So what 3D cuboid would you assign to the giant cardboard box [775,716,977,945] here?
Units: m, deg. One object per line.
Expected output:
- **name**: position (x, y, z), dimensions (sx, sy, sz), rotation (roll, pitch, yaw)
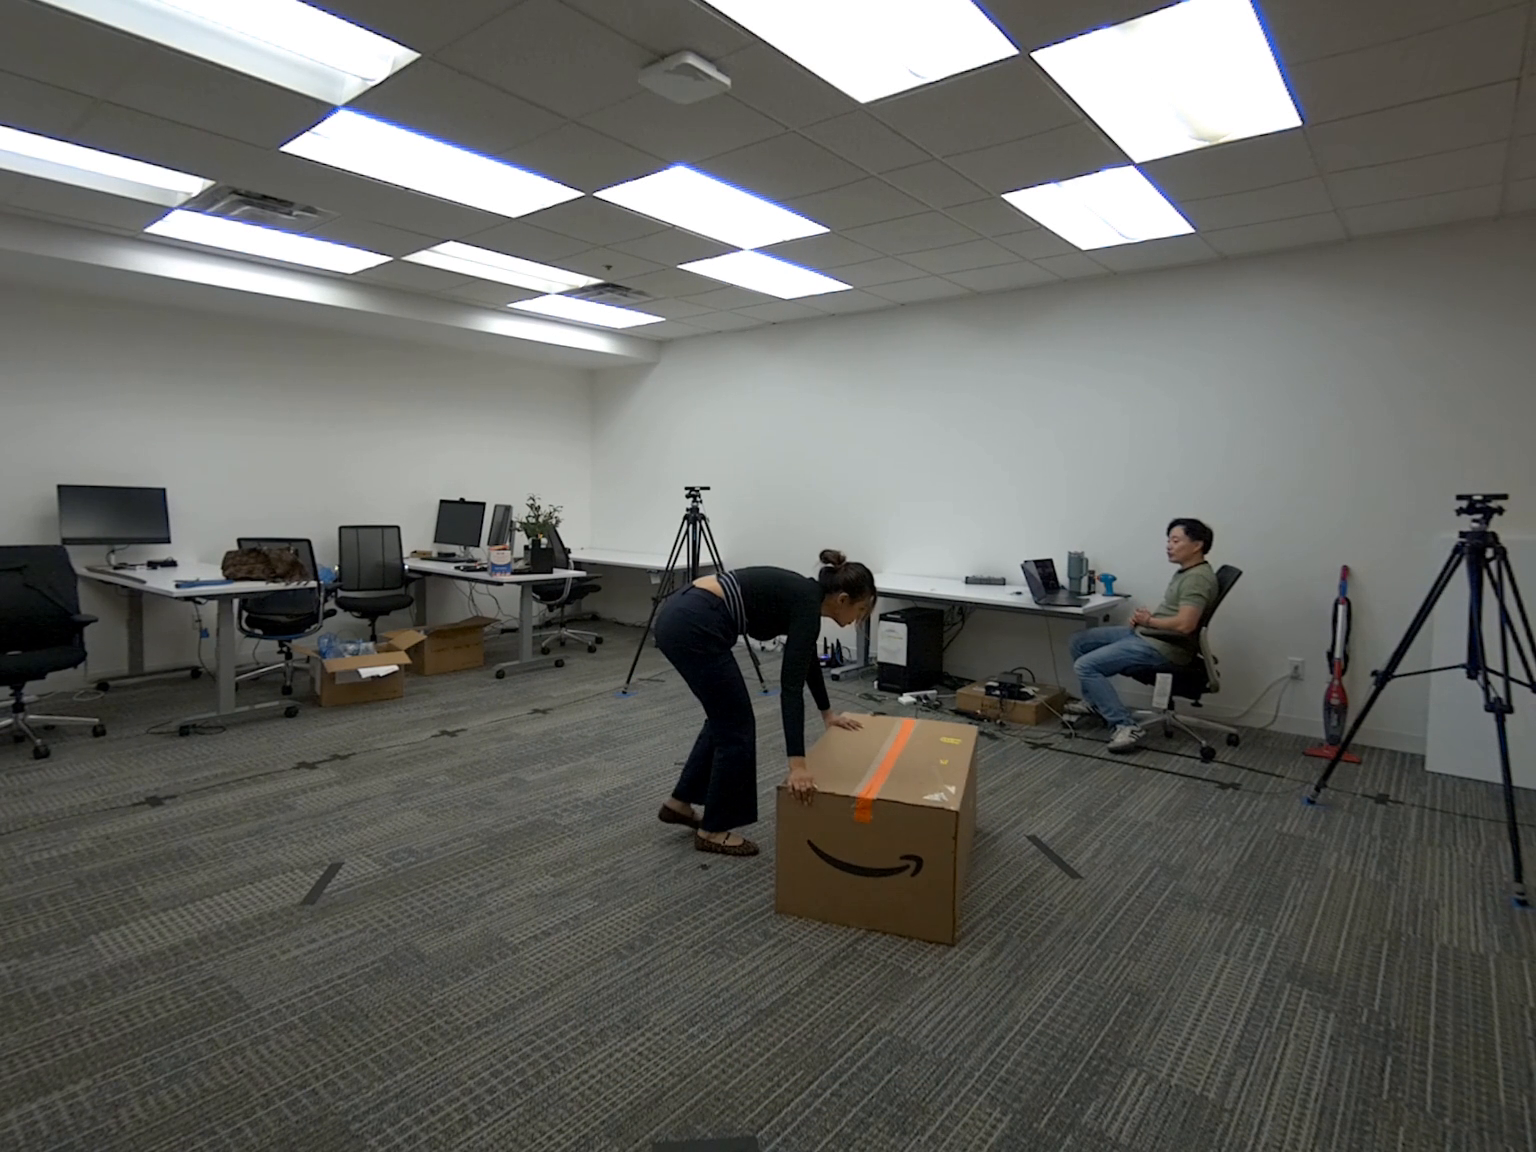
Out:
- **giant cardboard box**: position (0.440, 0.855, 3.158), dimensions (0.589, 0.424, 1.010), rotation (1, 5, 18)
